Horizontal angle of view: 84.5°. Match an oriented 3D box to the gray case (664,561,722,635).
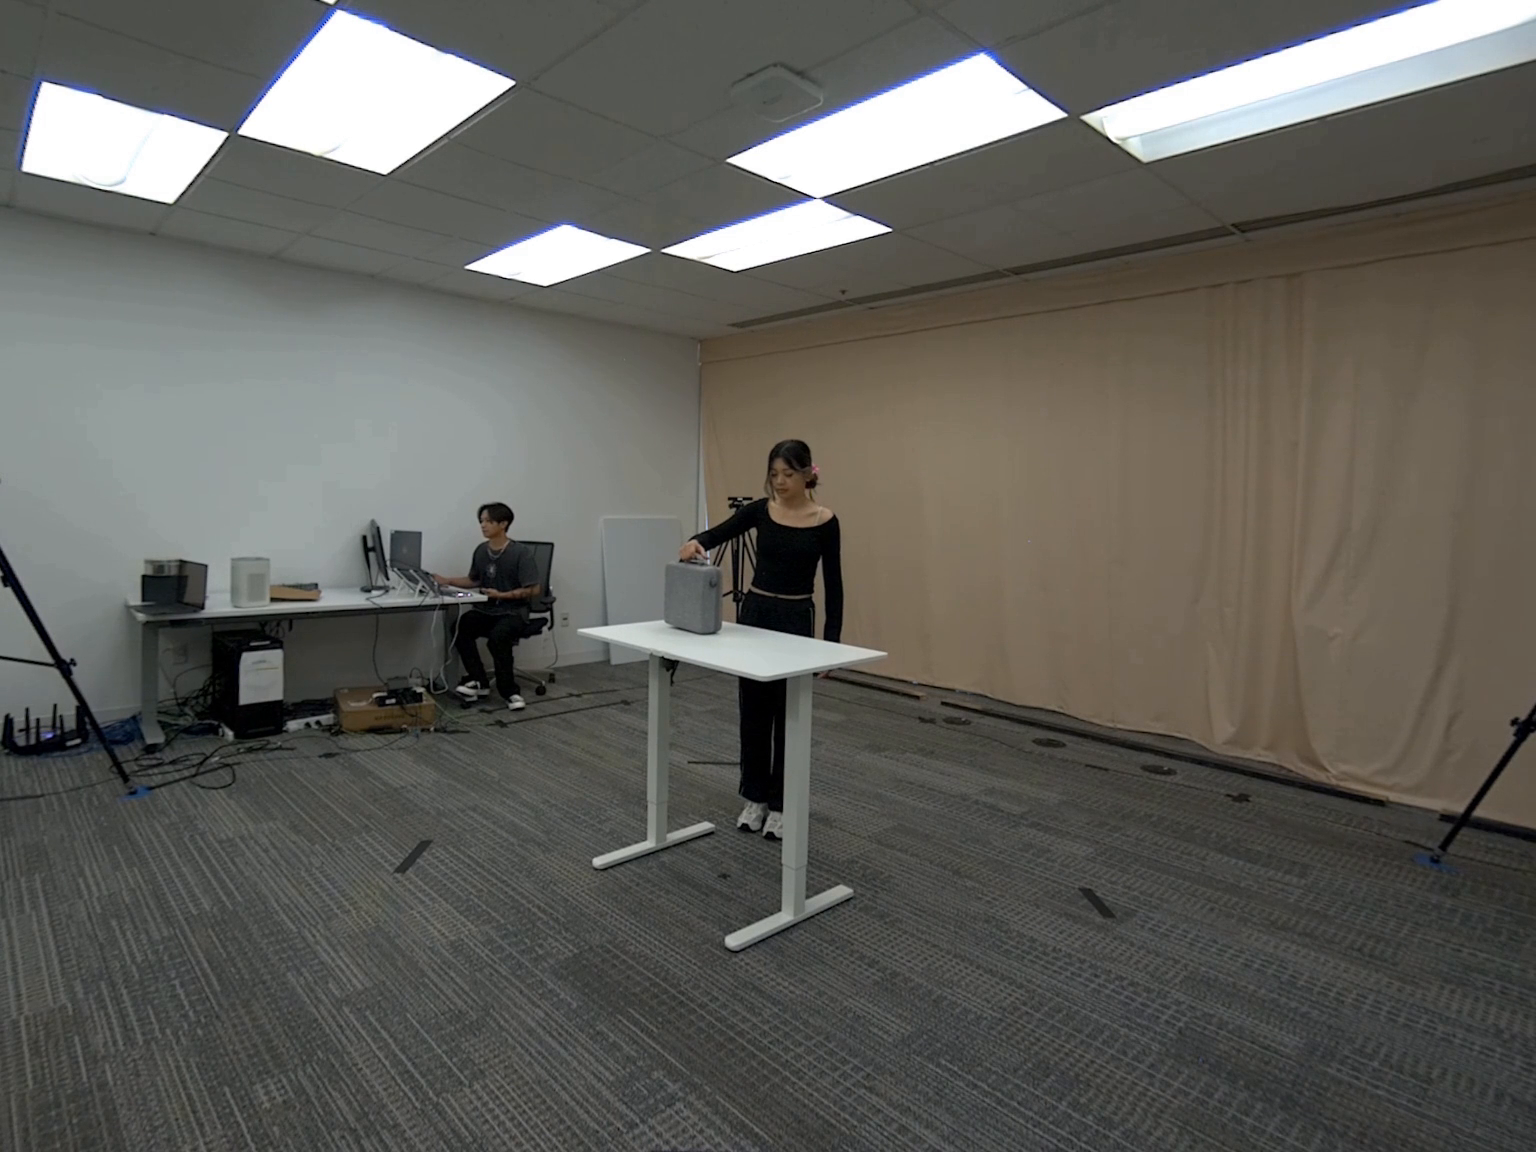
[{"bbox_3d":[-0.296,0.076,3.201,0.102,0.259,0.264,-4,8,-40],"label":"gray case"}]
